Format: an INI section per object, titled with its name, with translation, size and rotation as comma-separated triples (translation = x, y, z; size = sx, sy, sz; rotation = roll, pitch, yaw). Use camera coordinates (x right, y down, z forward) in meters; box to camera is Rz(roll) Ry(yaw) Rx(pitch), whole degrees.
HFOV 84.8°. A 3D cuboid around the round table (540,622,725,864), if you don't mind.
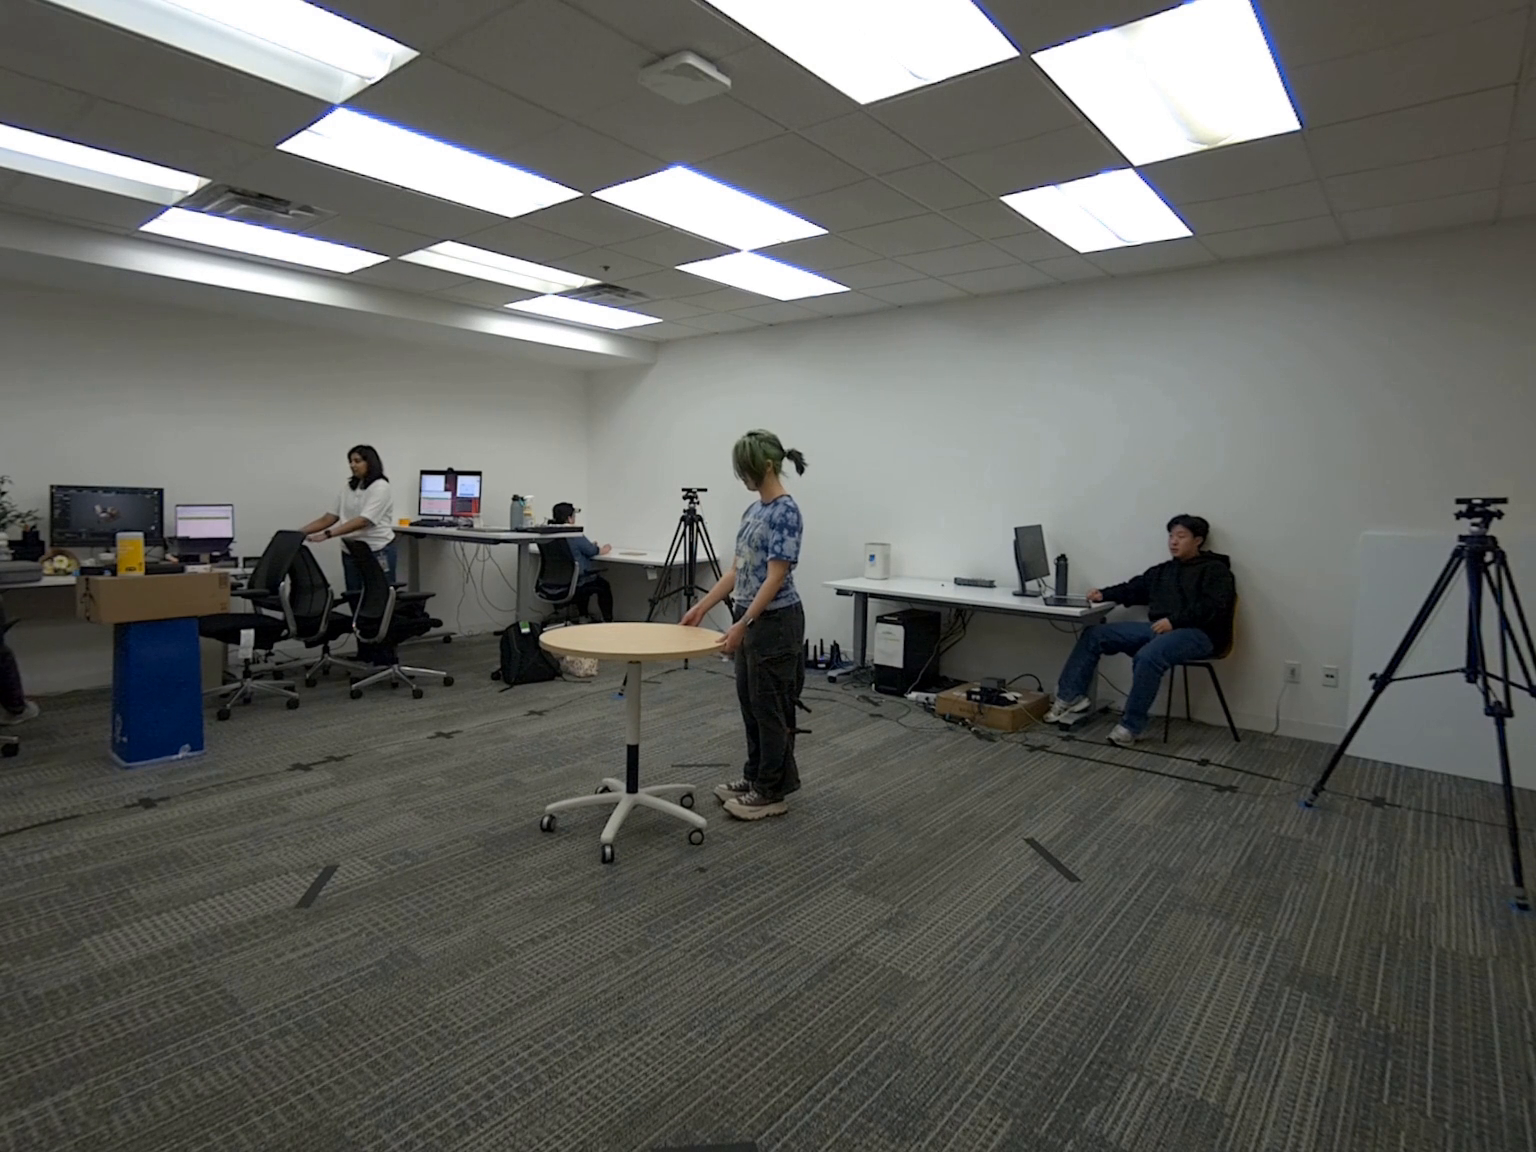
[round table]
translation = -0.567, 0.638, 3.476
size = 0.763, 0.792, 0.767
rotation = 1, 3, -2
